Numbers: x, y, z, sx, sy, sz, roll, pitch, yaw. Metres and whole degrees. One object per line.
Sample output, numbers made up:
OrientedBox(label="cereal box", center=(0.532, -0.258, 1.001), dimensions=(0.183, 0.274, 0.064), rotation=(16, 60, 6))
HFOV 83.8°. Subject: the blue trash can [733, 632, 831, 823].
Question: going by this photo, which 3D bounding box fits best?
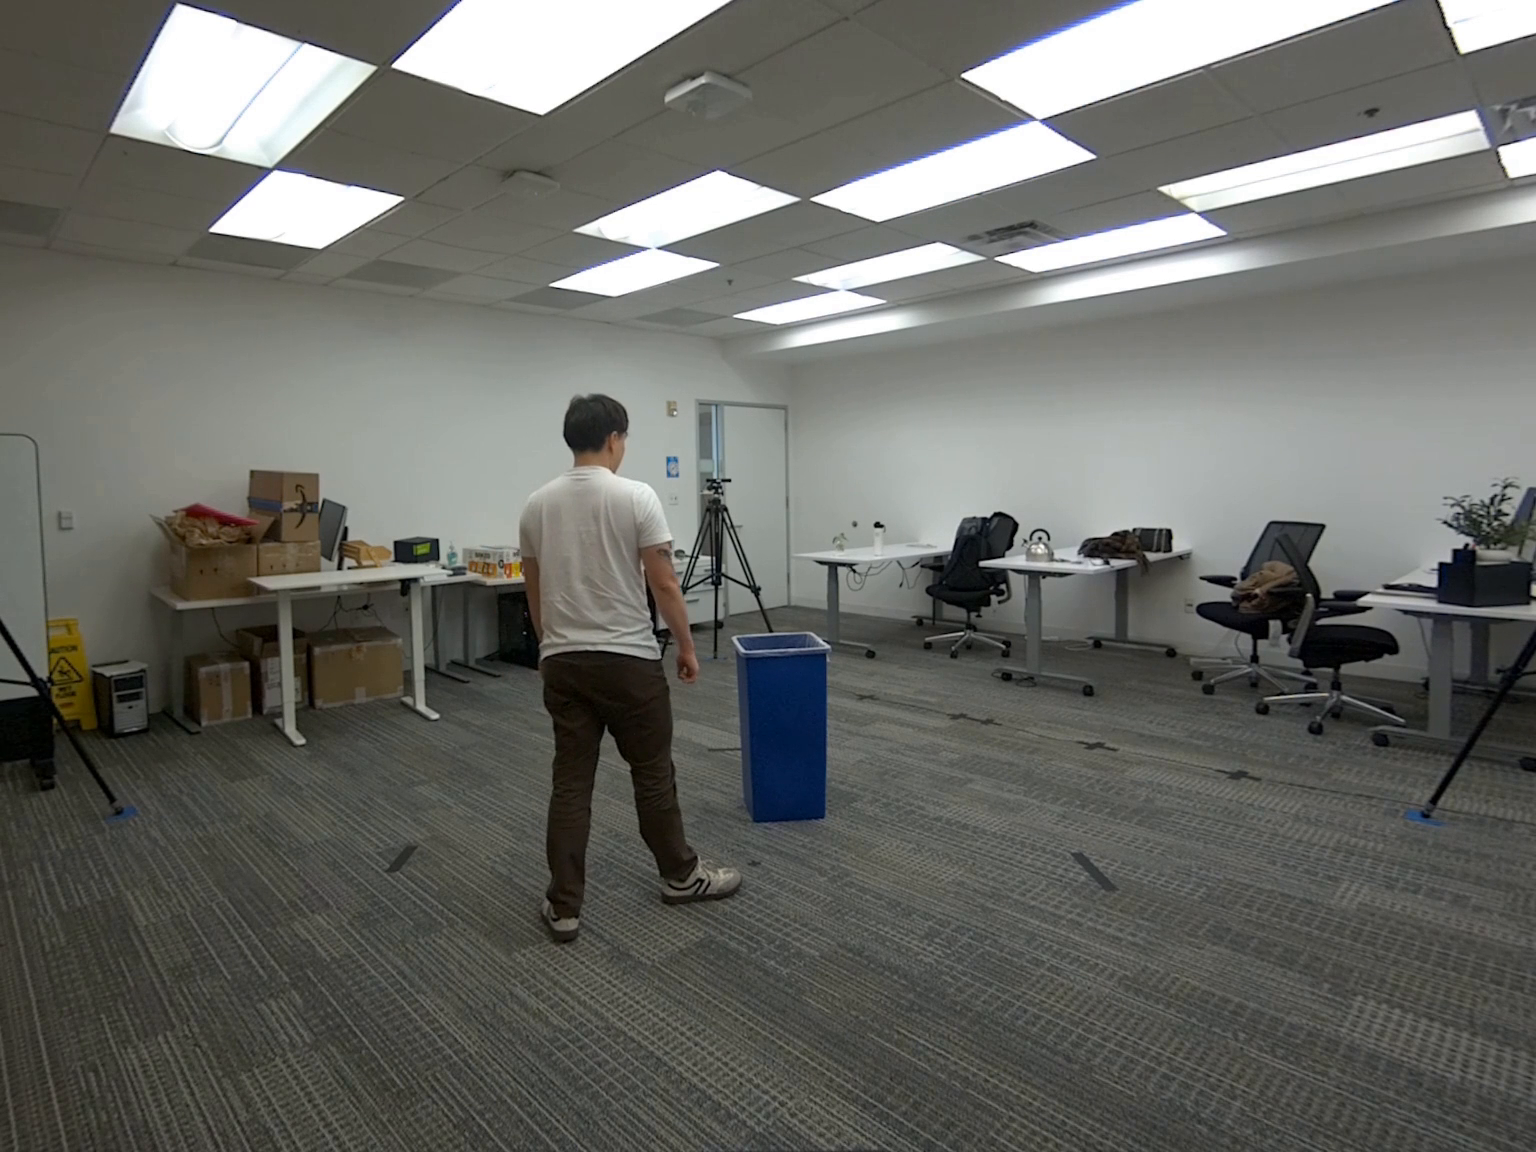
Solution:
OrientedBox(label="blue trash can", center=(0.056, 0.628, 3.621), dimensions=(0.375, 0.711, 0.378), rotation=(-2, 4, -8))
